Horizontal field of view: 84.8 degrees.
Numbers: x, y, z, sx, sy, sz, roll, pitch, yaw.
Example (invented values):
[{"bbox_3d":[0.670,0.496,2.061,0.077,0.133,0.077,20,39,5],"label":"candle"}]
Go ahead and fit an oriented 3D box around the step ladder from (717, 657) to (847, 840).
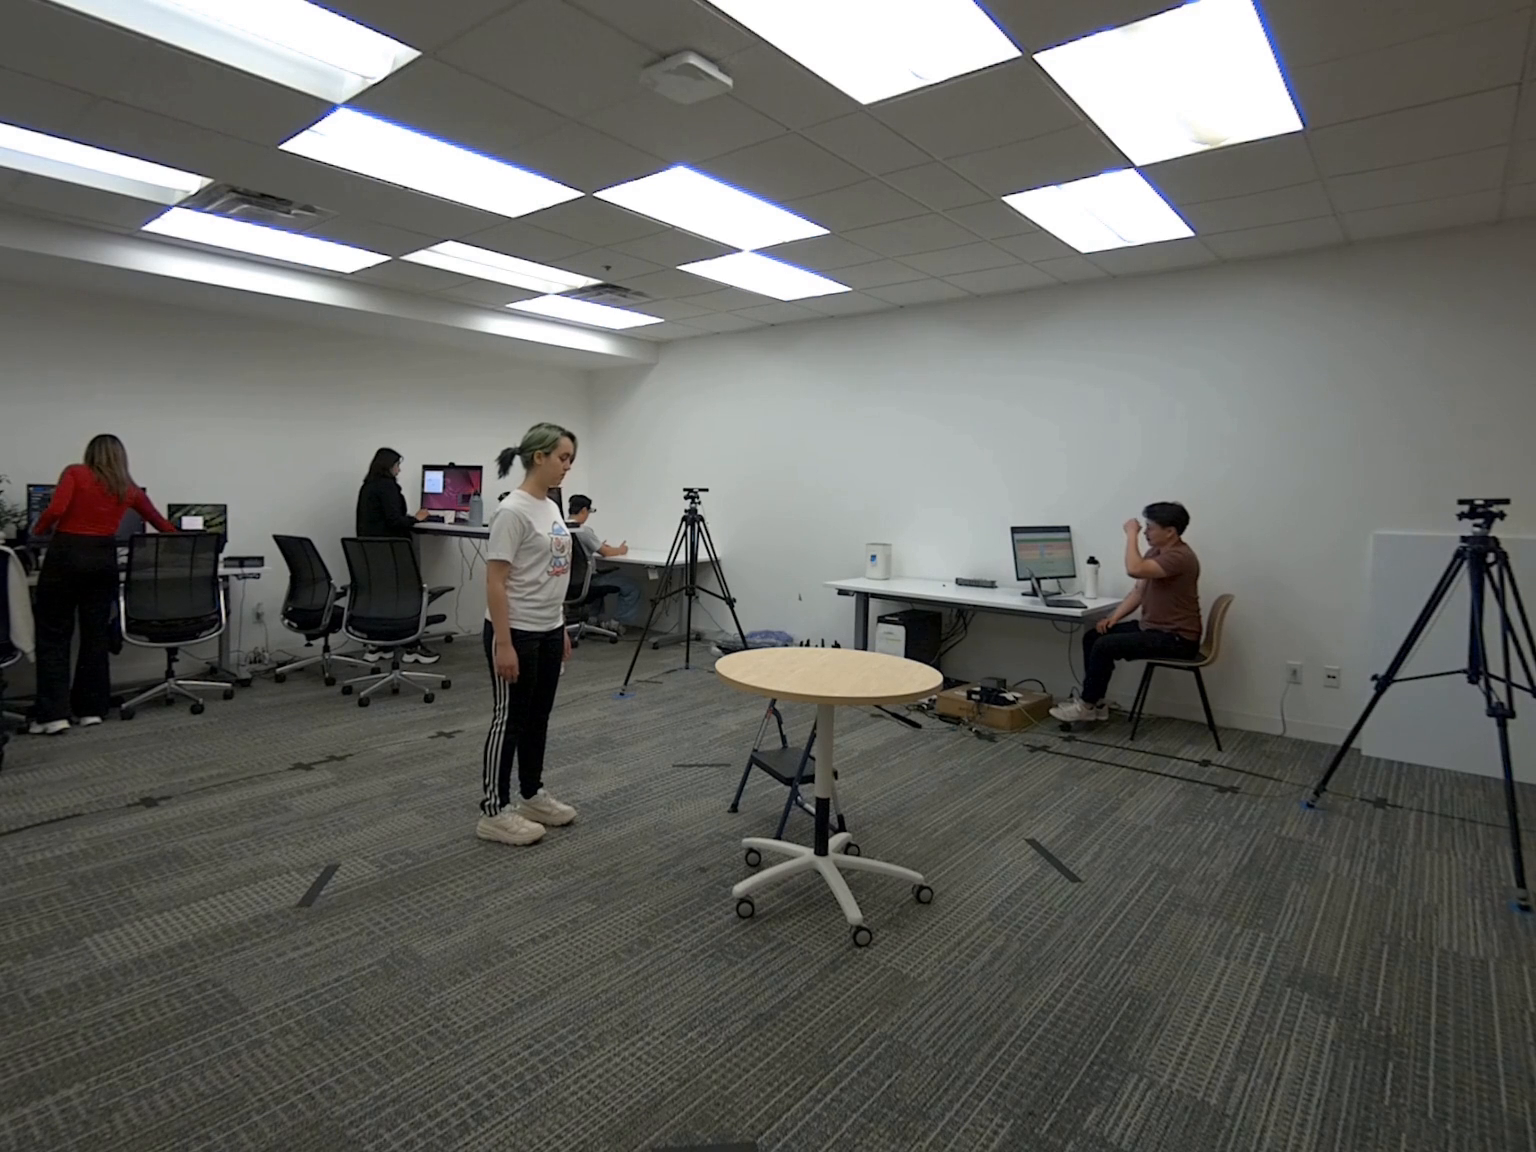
[{"bbox_3d":[0.078,0.732,3.541,0.341,0.604,0.443,0,4,-26],"label":"step ladder"}]
